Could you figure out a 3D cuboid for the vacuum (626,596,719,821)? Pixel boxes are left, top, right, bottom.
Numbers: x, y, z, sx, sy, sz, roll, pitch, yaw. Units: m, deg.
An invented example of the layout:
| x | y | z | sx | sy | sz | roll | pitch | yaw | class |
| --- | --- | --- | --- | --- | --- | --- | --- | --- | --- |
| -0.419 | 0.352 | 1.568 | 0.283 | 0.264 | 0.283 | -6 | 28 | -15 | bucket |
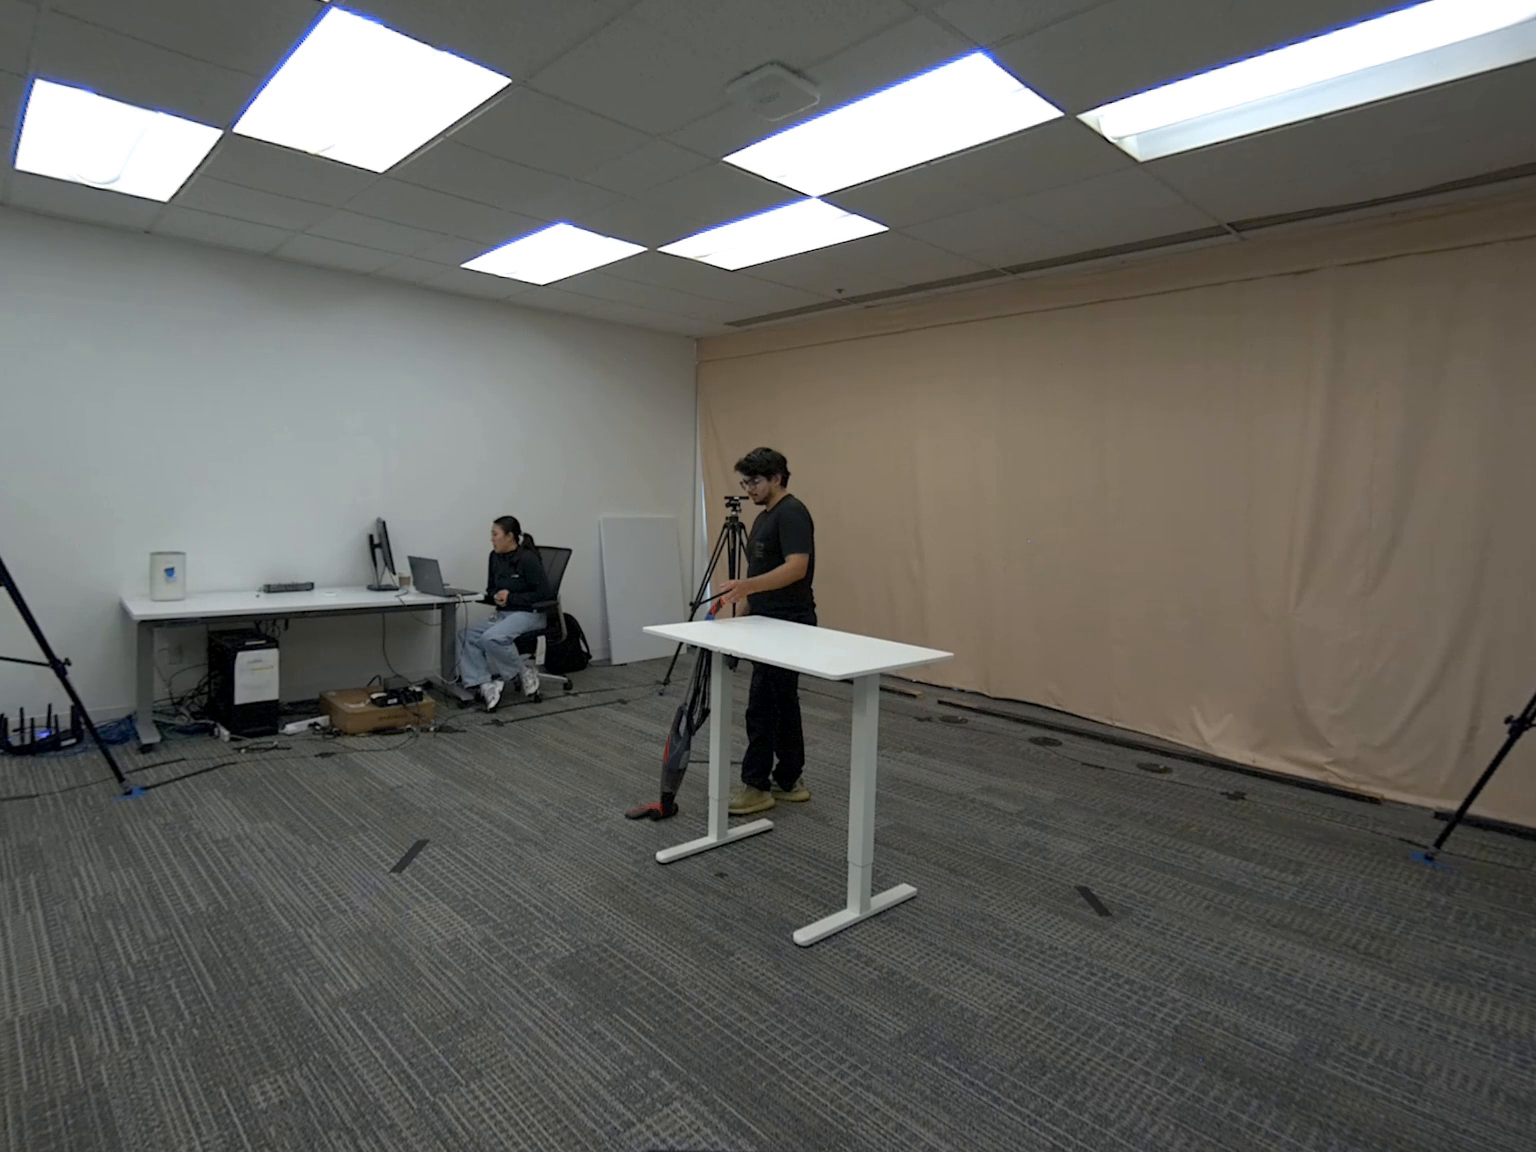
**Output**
| x | y | z | sx | sy | sz | roll | pitch | yaw | class |
| --- | --- | --- | --- | --- | --- | --- | --- | --- | --- |
| -0.343 | 0.562 | 3.552 | 0.148 | 1.042 | 0.247 | 27 | 18 | 32 | vacuum |
